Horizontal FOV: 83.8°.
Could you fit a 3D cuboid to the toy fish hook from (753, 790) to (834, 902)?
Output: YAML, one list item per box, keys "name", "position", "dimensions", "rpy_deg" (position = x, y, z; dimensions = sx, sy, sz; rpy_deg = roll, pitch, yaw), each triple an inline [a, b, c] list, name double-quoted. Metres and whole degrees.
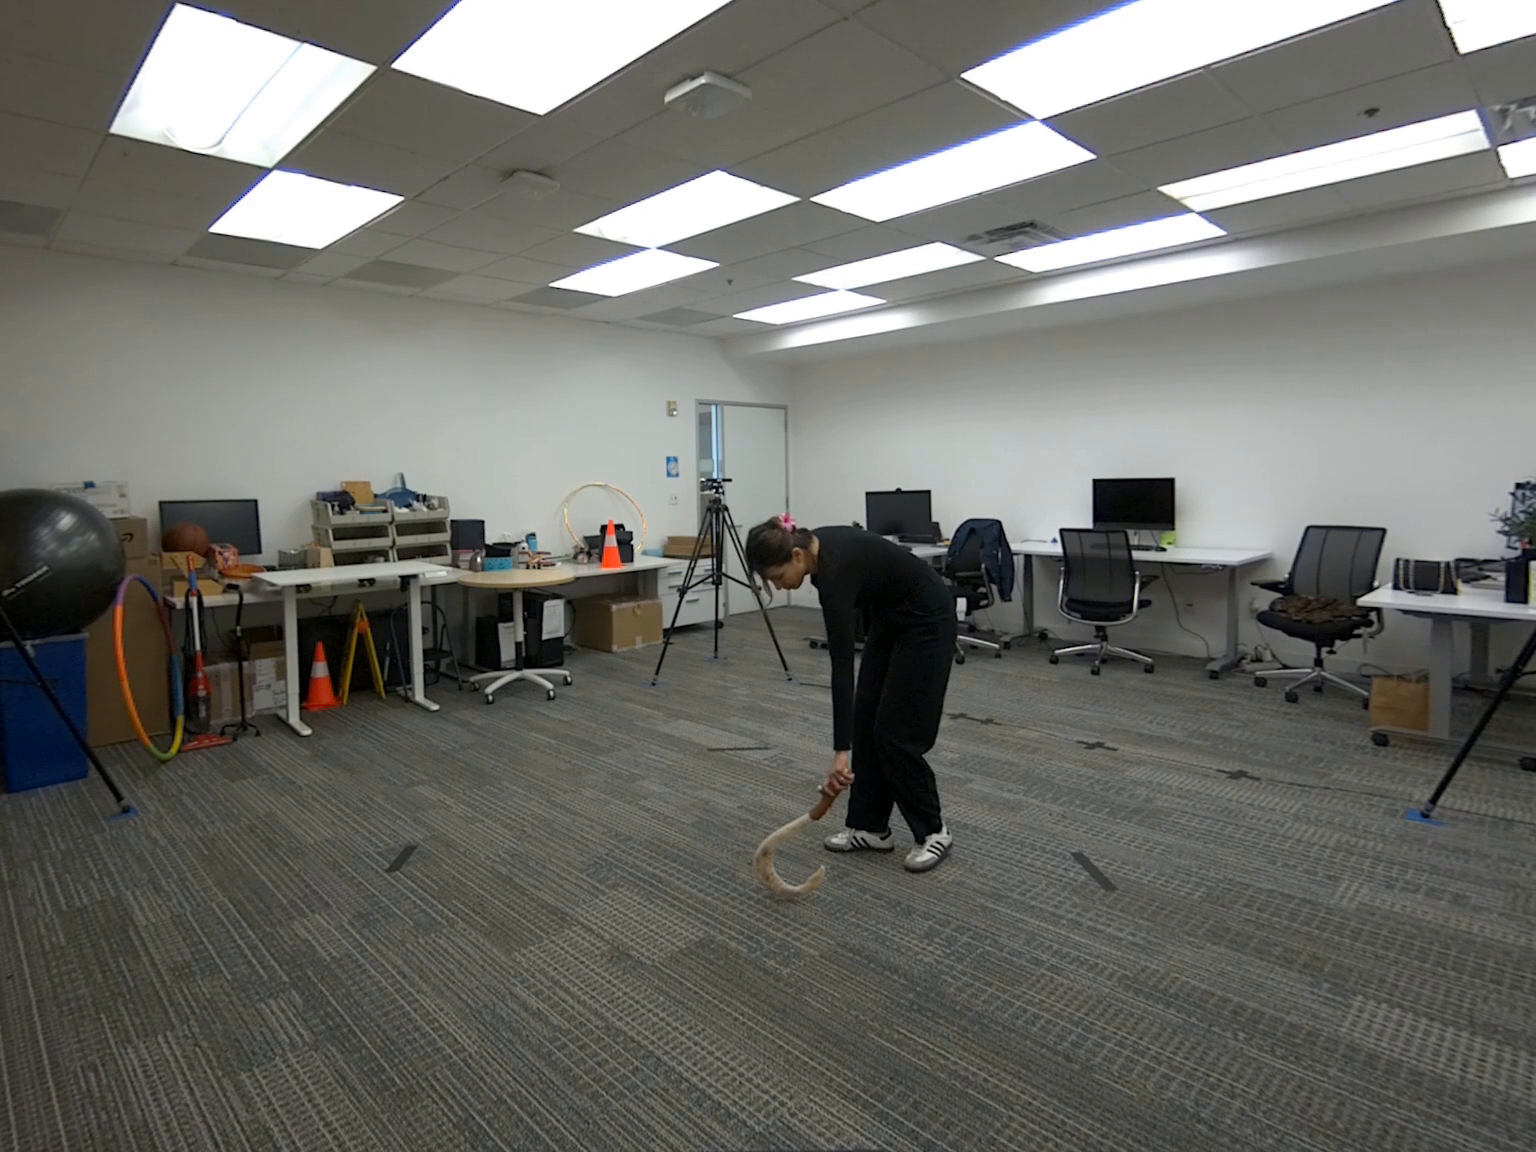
- name: "toy fish hook"
  position: [0.153, 0.851, 2.789]
  dimensions: [0.227, 0.505, 0.048]
  rpy_deg: [38, 14, 7]
